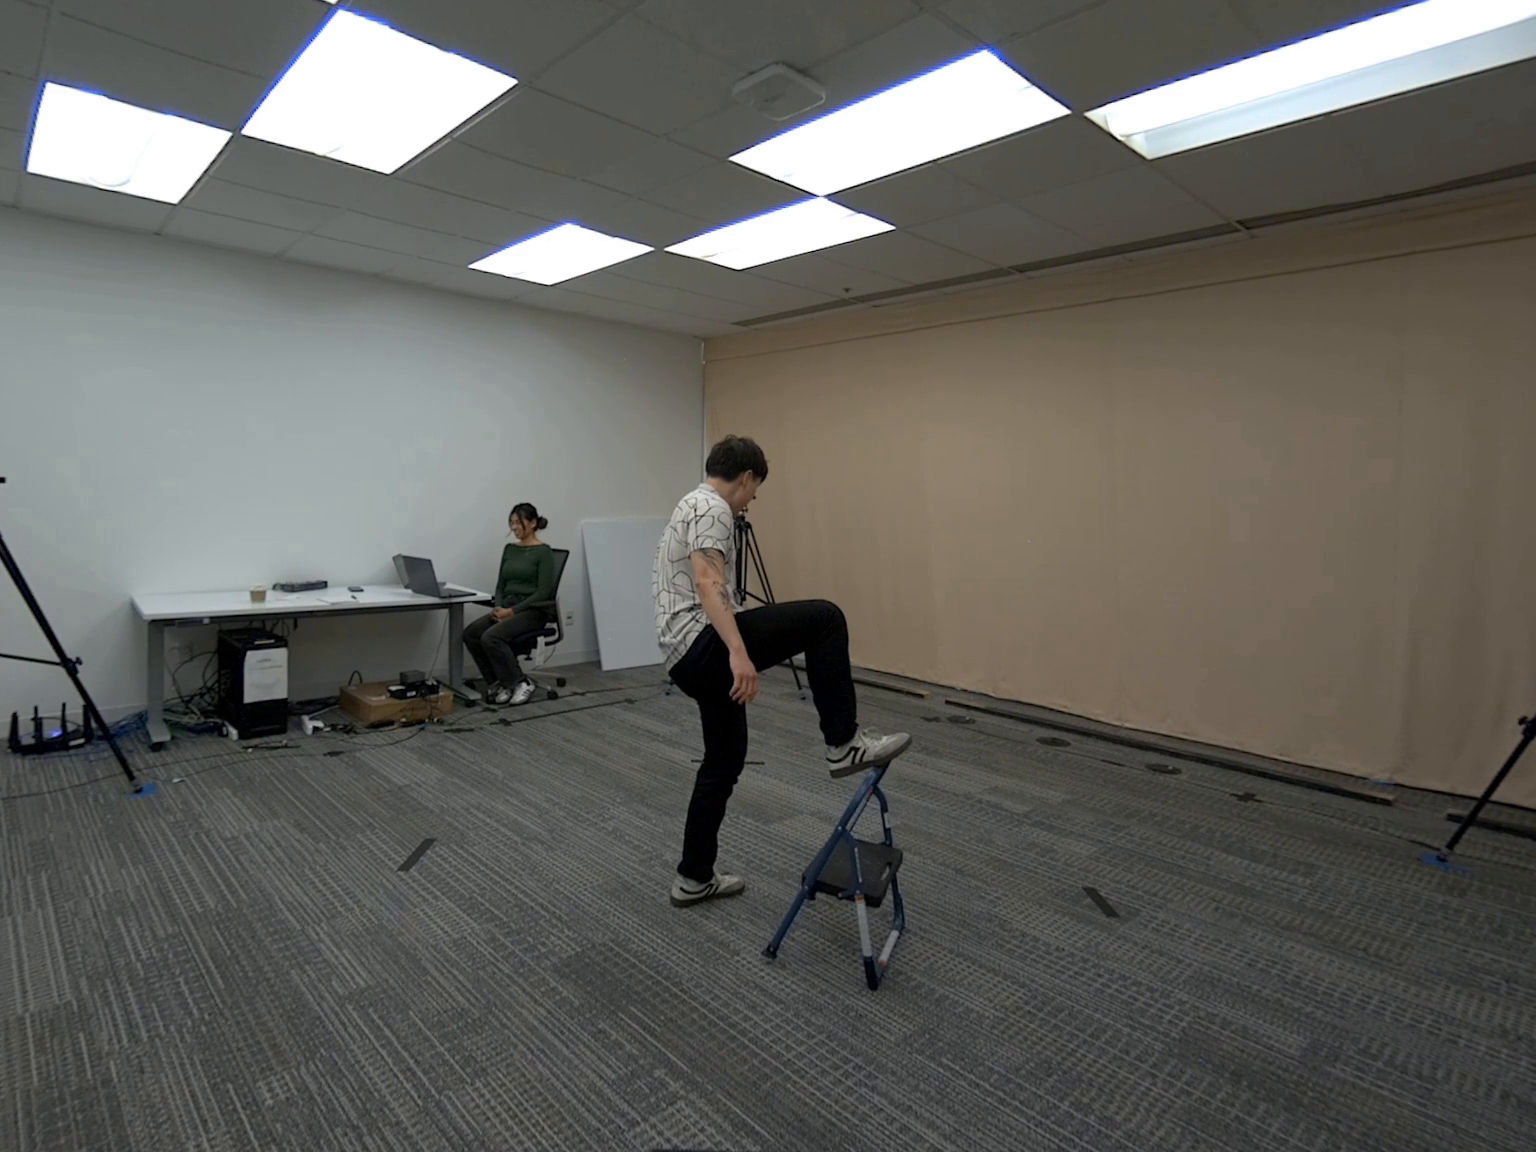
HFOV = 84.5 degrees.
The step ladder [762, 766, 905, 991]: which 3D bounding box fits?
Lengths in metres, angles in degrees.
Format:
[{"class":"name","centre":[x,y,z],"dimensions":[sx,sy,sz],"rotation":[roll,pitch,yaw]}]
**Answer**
[{"class":"step ladder","centre":[0.245,0.844,2.607],"dimensions":[0.355,0.604,0.425],"rotation":[8,6,20]}]
